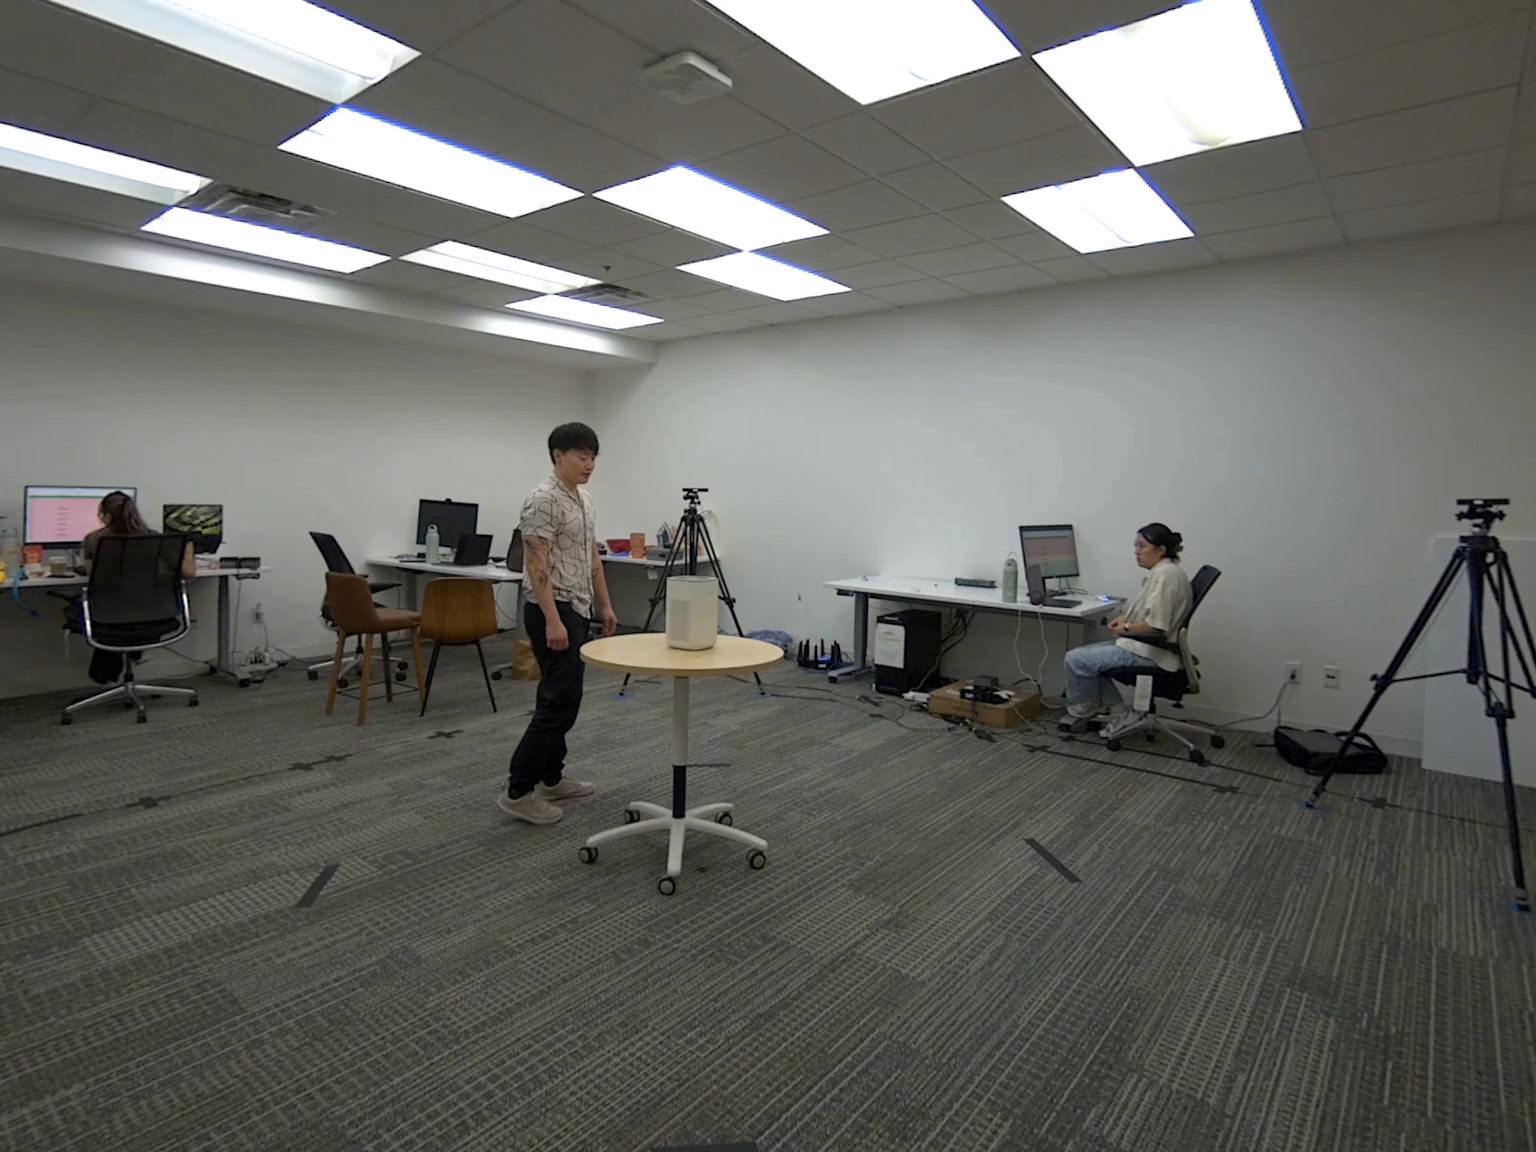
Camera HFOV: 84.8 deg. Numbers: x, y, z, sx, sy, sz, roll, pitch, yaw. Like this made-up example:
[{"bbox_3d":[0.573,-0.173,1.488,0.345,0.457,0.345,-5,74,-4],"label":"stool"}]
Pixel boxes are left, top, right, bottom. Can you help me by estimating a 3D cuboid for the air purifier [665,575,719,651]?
[{"bbox_3d":[-0.301,0.138,3.257,0.177,0.264,0.166,4,5,30],"label":"air purifier"}]
